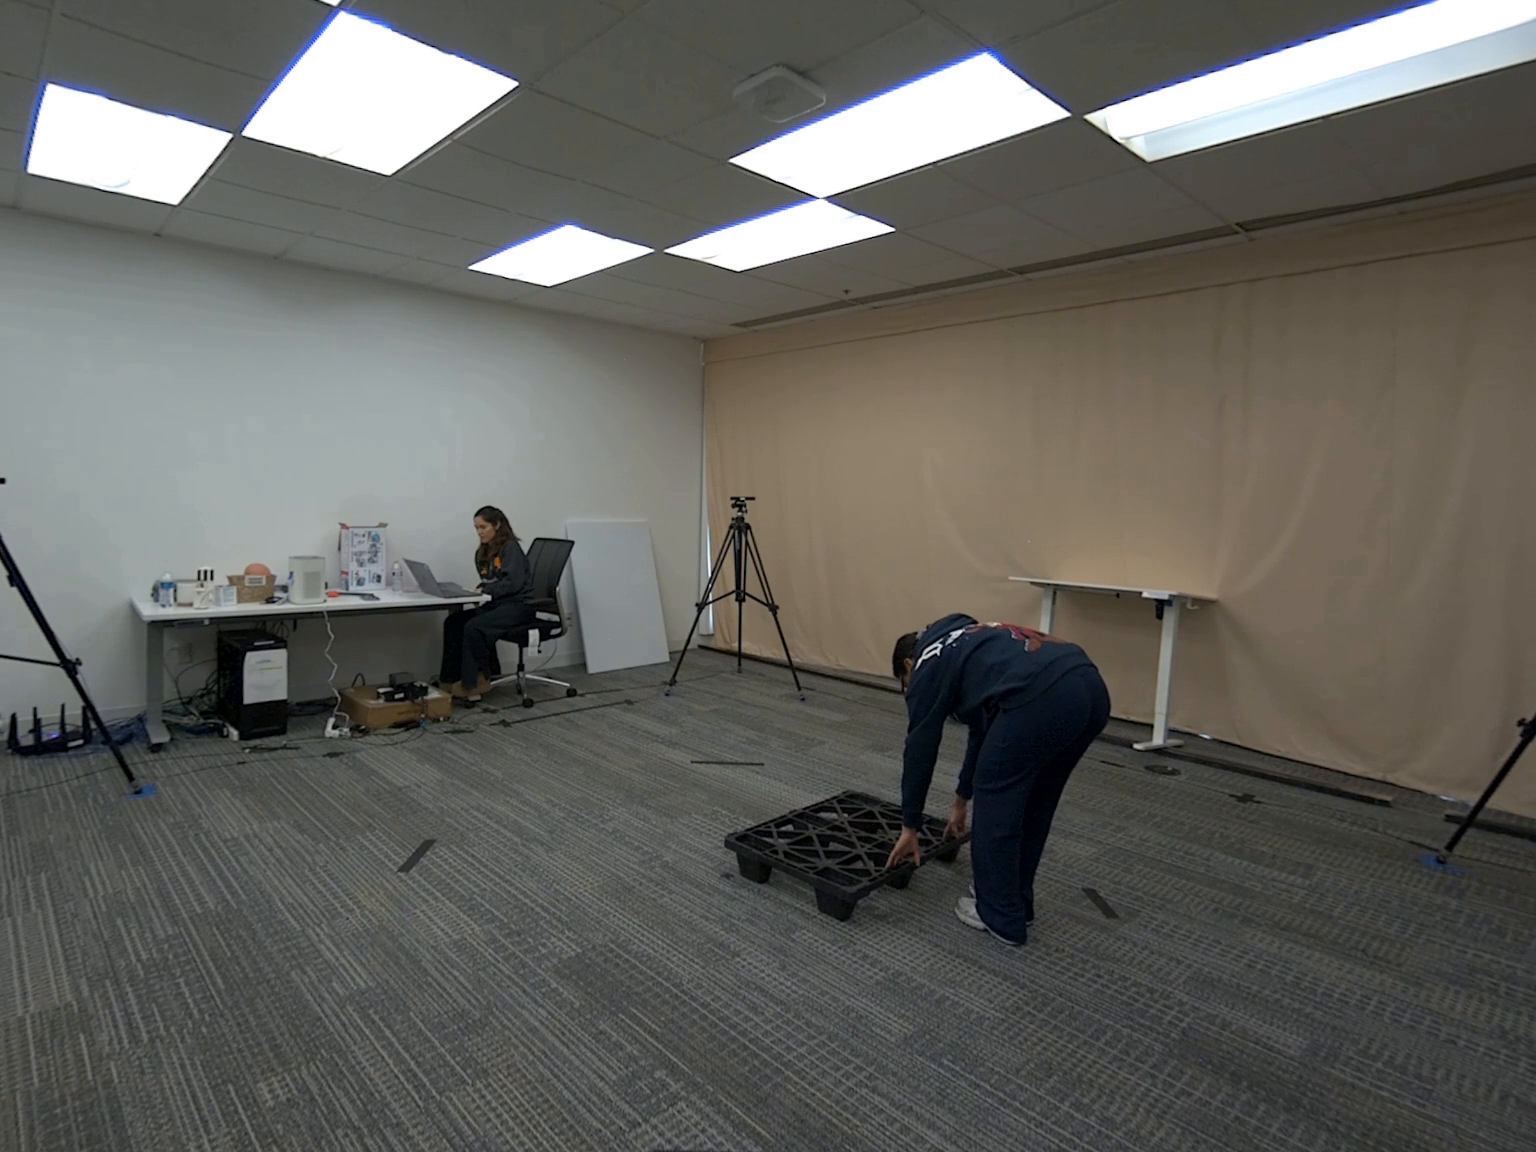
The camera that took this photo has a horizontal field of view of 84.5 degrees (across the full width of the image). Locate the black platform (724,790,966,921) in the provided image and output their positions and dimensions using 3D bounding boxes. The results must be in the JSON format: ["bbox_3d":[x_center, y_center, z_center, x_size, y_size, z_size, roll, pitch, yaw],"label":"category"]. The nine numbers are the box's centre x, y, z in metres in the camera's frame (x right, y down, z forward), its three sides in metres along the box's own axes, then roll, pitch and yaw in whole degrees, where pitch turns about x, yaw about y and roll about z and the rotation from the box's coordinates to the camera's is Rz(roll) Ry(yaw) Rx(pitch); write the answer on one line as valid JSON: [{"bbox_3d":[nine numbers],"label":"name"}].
[{"bbox_3d":[0.313,1.041,3.204,0.621,0.143,0.787,7,7,43],"label":"black platform"}]
